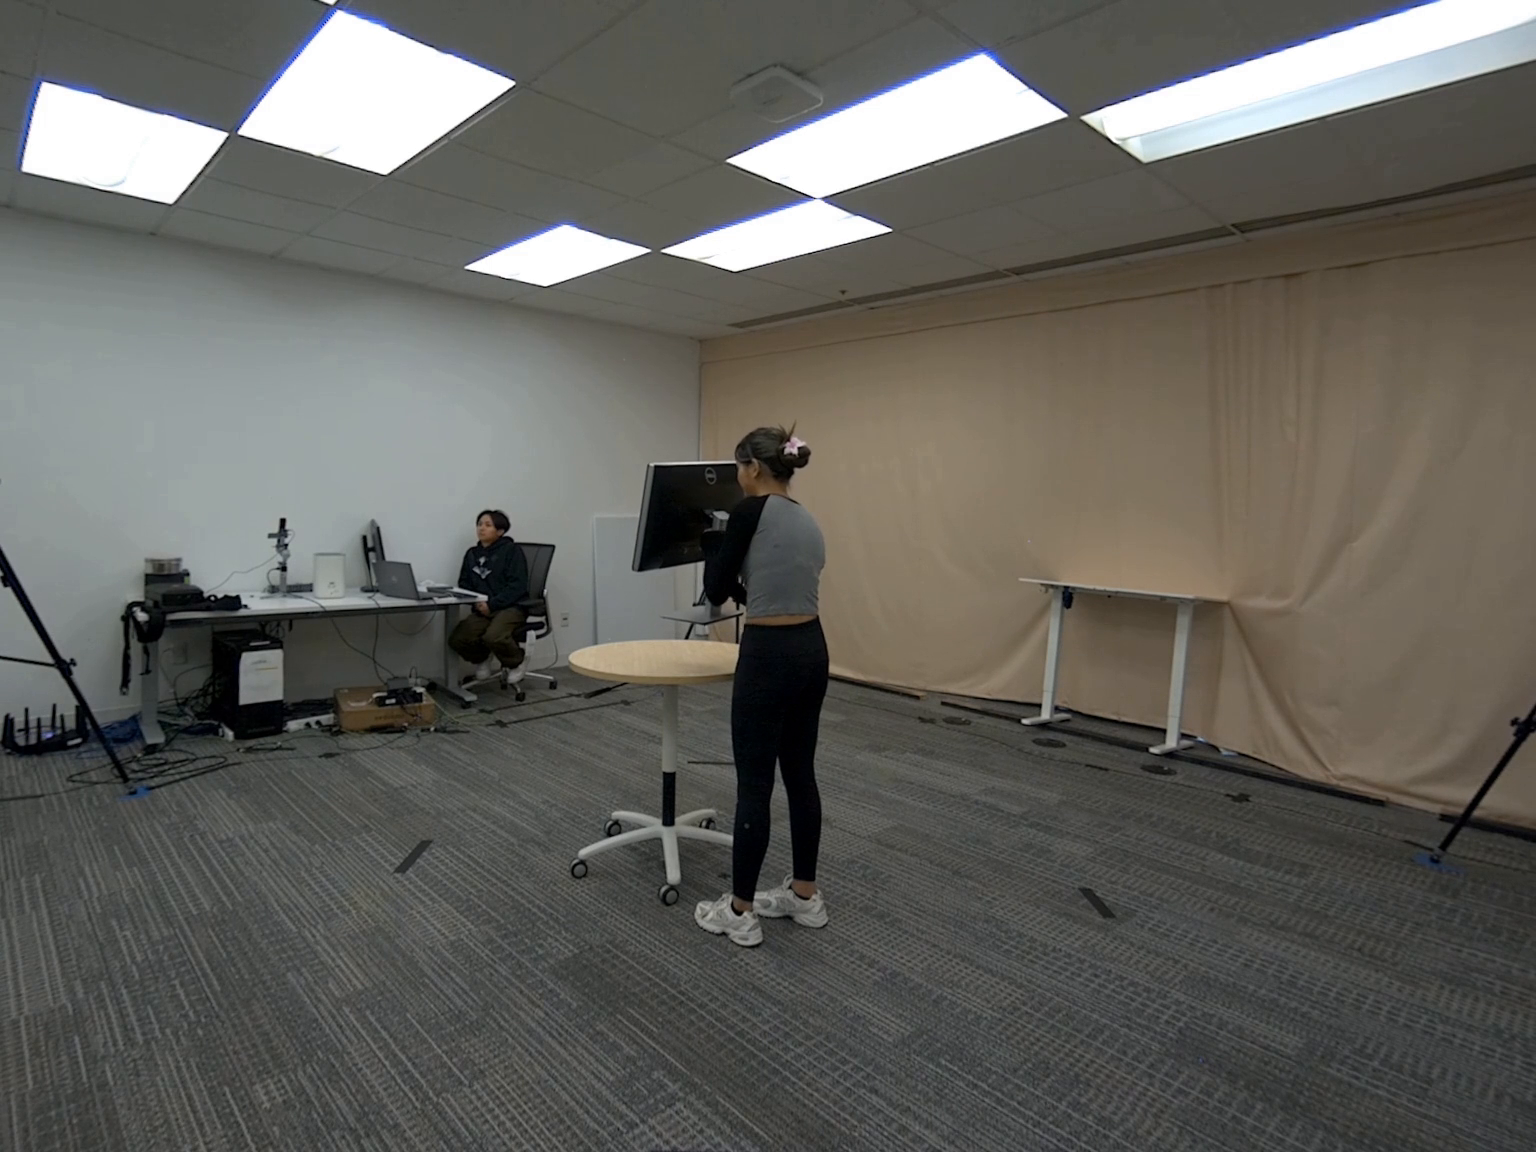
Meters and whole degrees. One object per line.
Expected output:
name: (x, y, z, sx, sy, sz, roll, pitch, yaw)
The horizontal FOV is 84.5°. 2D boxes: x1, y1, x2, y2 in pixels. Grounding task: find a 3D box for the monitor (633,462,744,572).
monitor: (-0.229, -0.127, 2.922, 0.191, 0.520, 0.529, 4, 9, 33)
